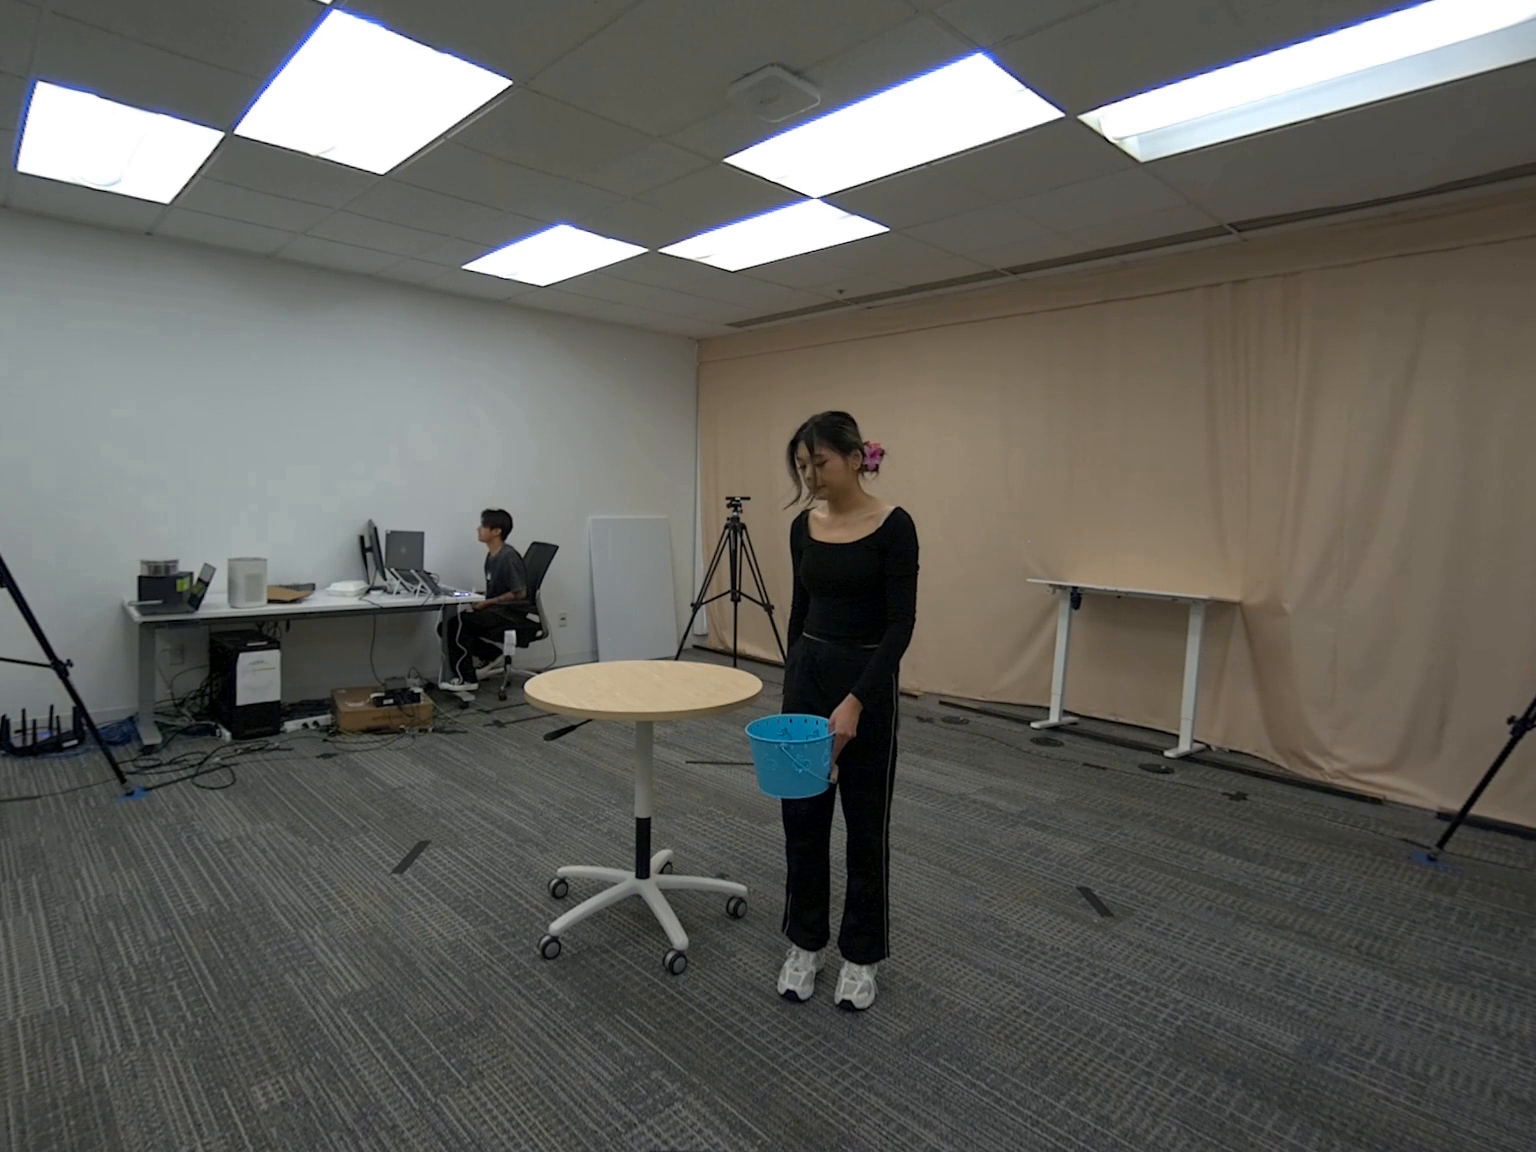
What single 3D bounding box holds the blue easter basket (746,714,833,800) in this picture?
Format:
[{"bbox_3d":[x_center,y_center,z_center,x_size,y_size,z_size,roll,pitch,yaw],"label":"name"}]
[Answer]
[{"bbox_3d":[0.072,0.466,2.150,0.243,0.155,0.245,-2,6,-1],"label":"blue easter basket"}]
